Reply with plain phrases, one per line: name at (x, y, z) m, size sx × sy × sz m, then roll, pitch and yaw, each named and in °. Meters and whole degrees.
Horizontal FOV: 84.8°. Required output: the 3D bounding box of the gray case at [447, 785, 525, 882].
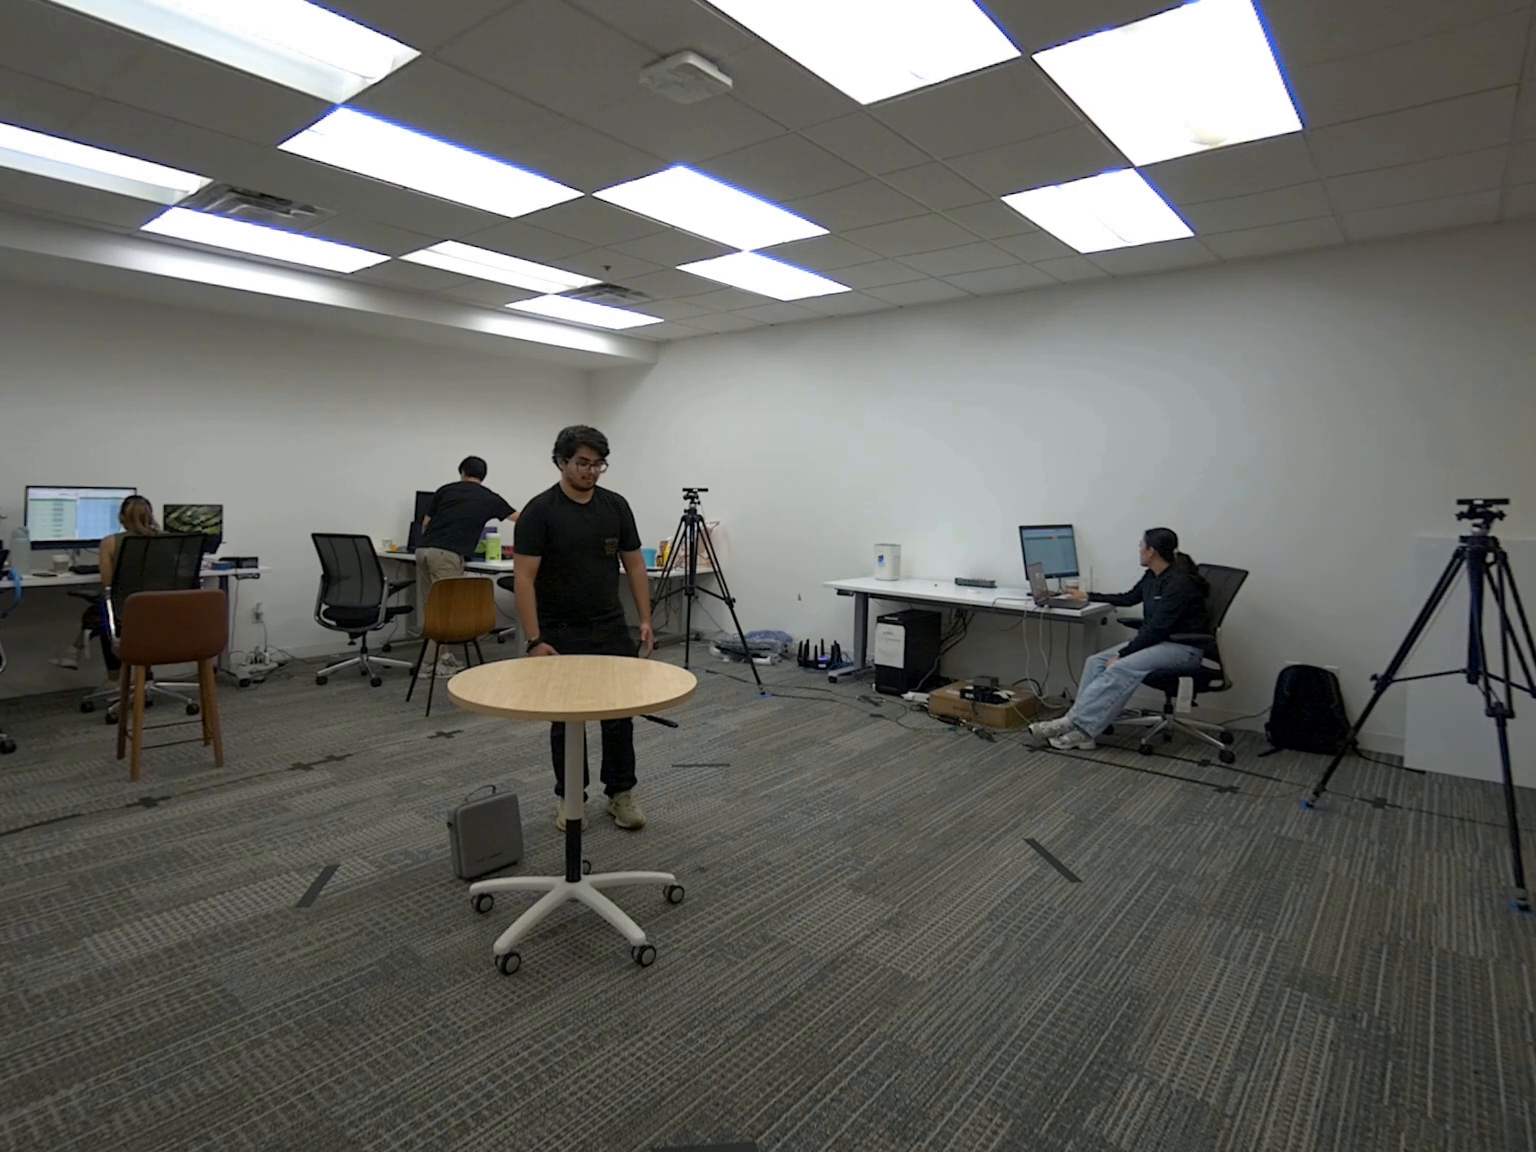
gray case at (-1.040, 0.927, 3.093) m, size 0.107 × 0.262 × 0.249 m, roll -11°, pitch -4°, yaw 42°
